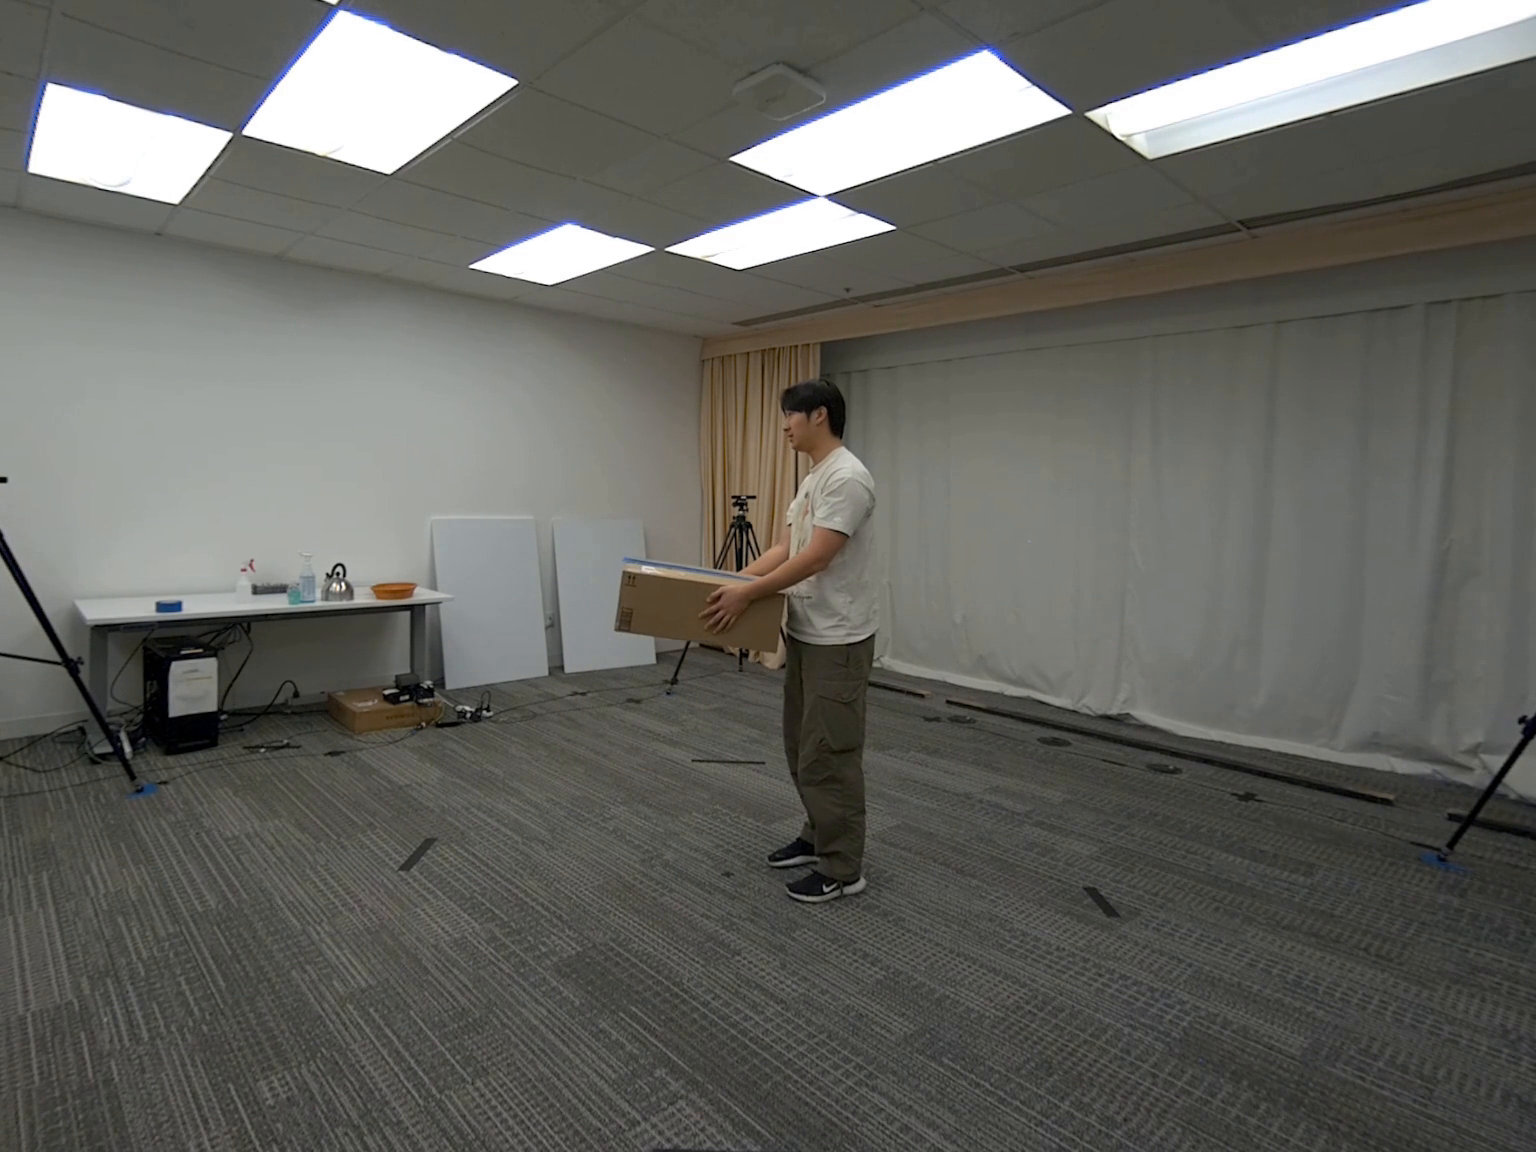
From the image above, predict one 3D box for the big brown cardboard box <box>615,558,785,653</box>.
[{"bbox_3d":[-0.256,0.092,3.065,0.587,0.232,0.420,8,6,-4],"label":"big brown cardboard box"}]
